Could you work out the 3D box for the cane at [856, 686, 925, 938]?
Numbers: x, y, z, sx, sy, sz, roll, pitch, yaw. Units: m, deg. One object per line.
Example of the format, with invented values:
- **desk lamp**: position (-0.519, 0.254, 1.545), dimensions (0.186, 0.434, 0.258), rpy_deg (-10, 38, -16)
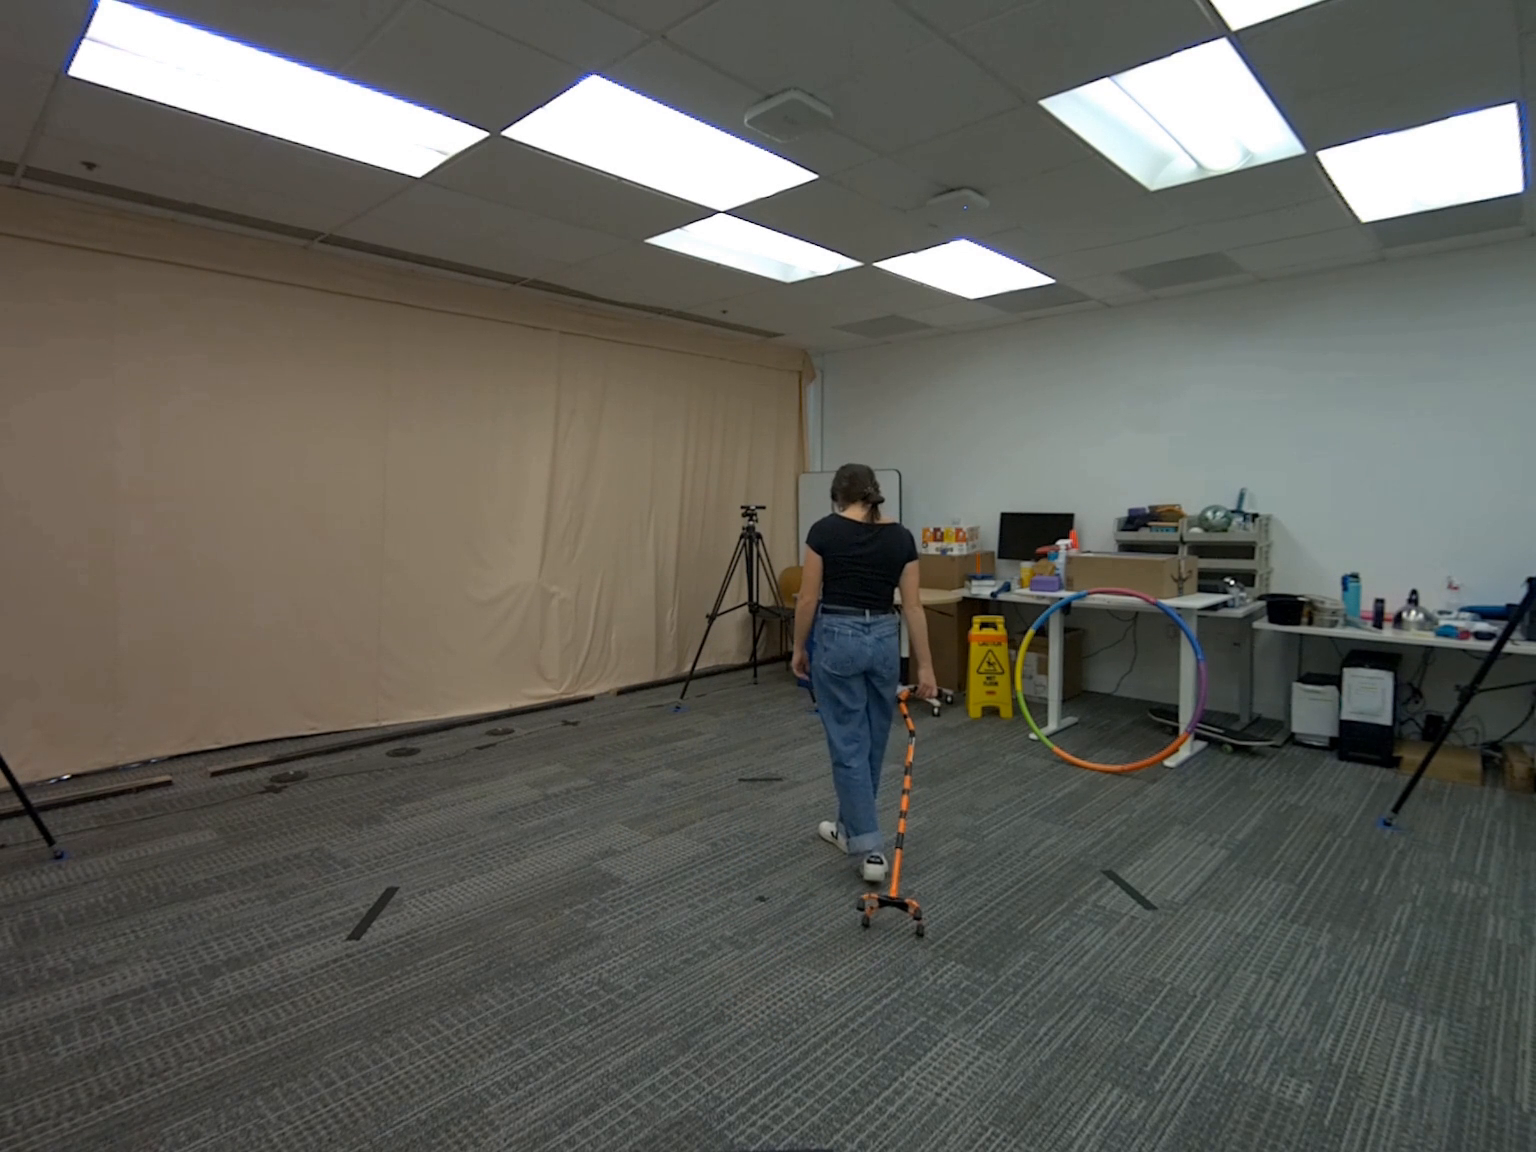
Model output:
- **cane**: position (0.504, 0.778, 2.990), dimensions (0.210, 0.148, 0.913), rpy_deg (4, 47, 17)
